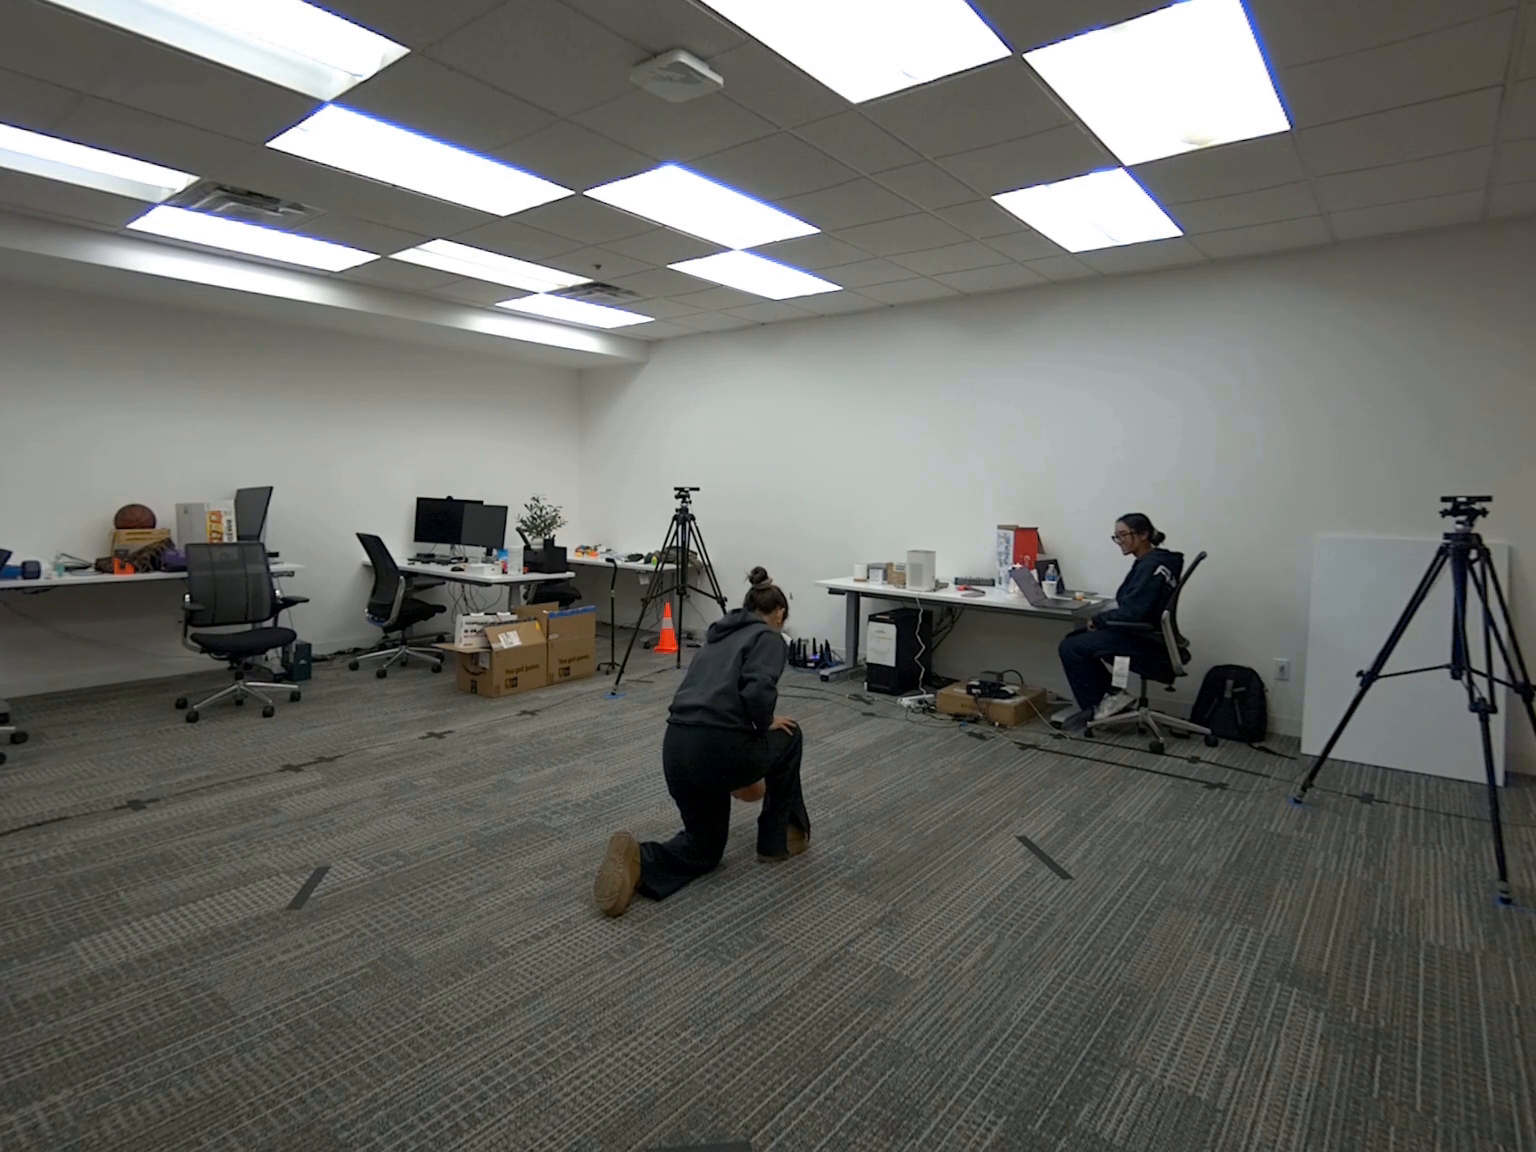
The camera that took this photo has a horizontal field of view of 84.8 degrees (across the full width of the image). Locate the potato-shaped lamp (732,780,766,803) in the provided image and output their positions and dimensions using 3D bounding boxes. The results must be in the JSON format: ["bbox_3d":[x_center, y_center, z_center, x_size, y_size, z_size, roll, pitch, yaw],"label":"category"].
[{"bbox_3d":[-0.087,0.813,3.473,0.166,0.190,0.177,-22,42,14],"label":"potato-shaped lamp"}]
